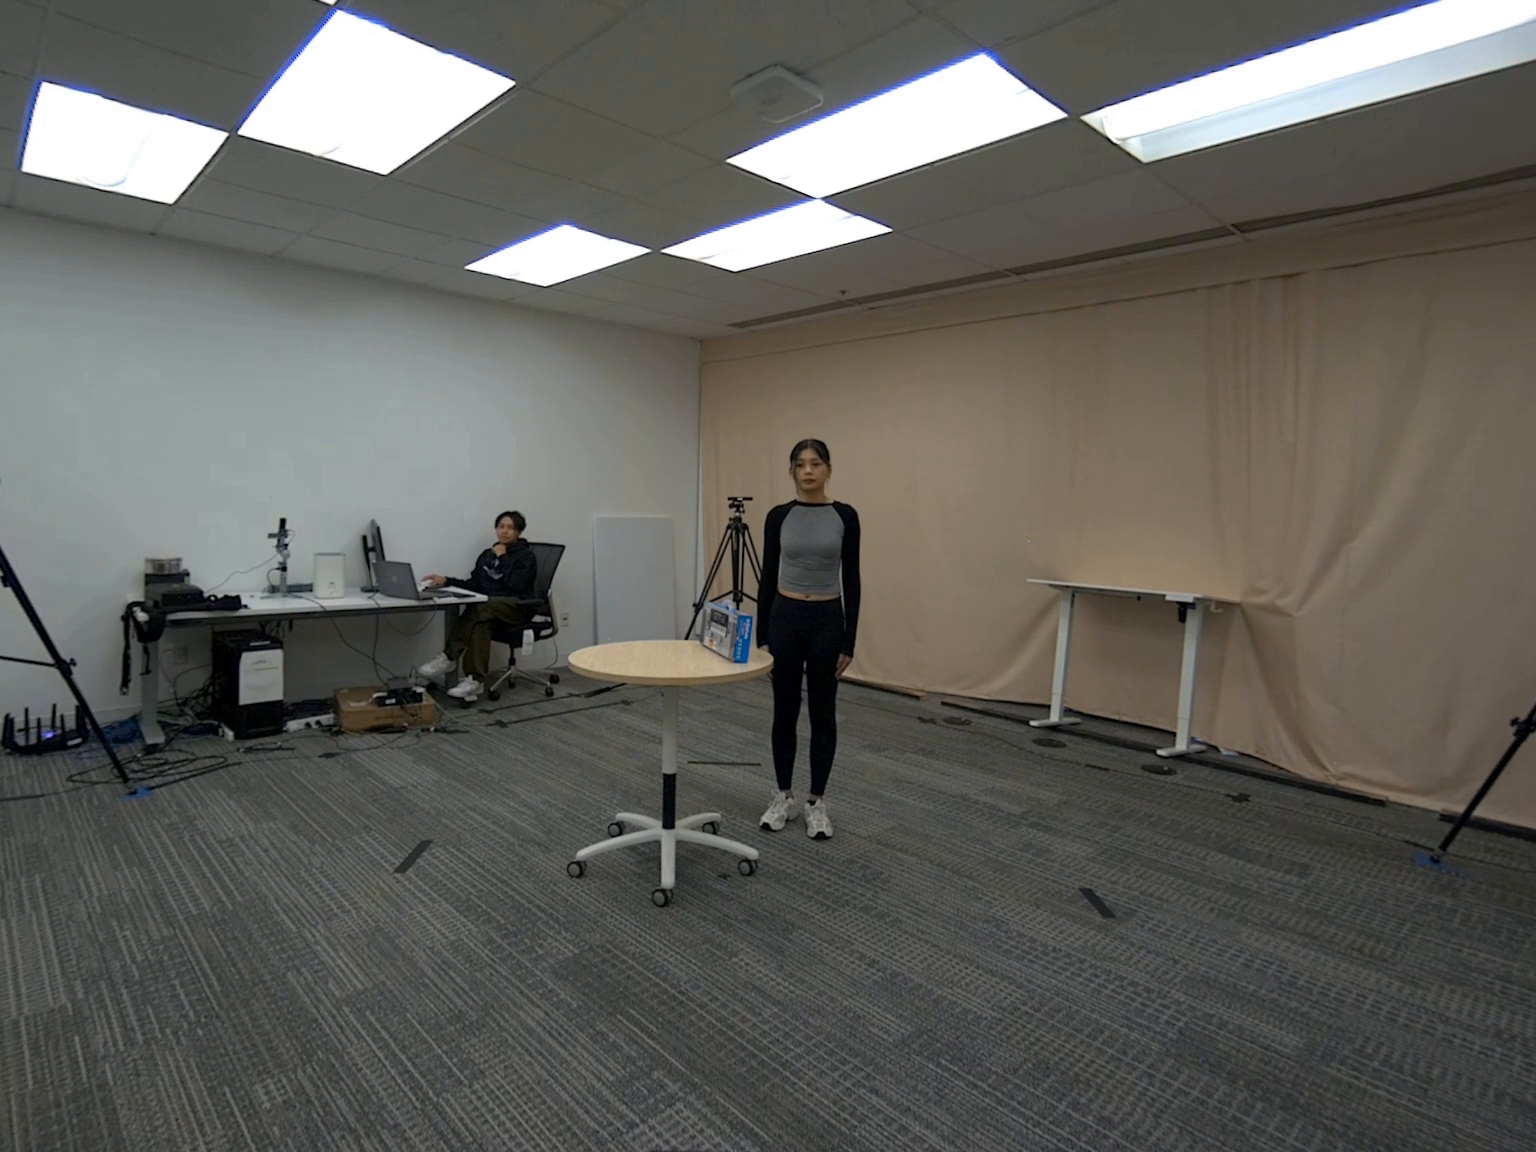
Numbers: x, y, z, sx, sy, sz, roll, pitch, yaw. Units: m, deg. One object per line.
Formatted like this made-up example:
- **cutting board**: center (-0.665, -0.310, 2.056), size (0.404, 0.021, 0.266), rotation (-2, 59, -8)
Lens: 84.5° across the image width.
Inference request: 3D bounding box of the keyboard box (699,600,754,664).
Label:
- **keyboard box**: center (-0.175, 0.212, 3.258), size (0.058, 0.176, 0.444), rotation (6, 2, -20)
